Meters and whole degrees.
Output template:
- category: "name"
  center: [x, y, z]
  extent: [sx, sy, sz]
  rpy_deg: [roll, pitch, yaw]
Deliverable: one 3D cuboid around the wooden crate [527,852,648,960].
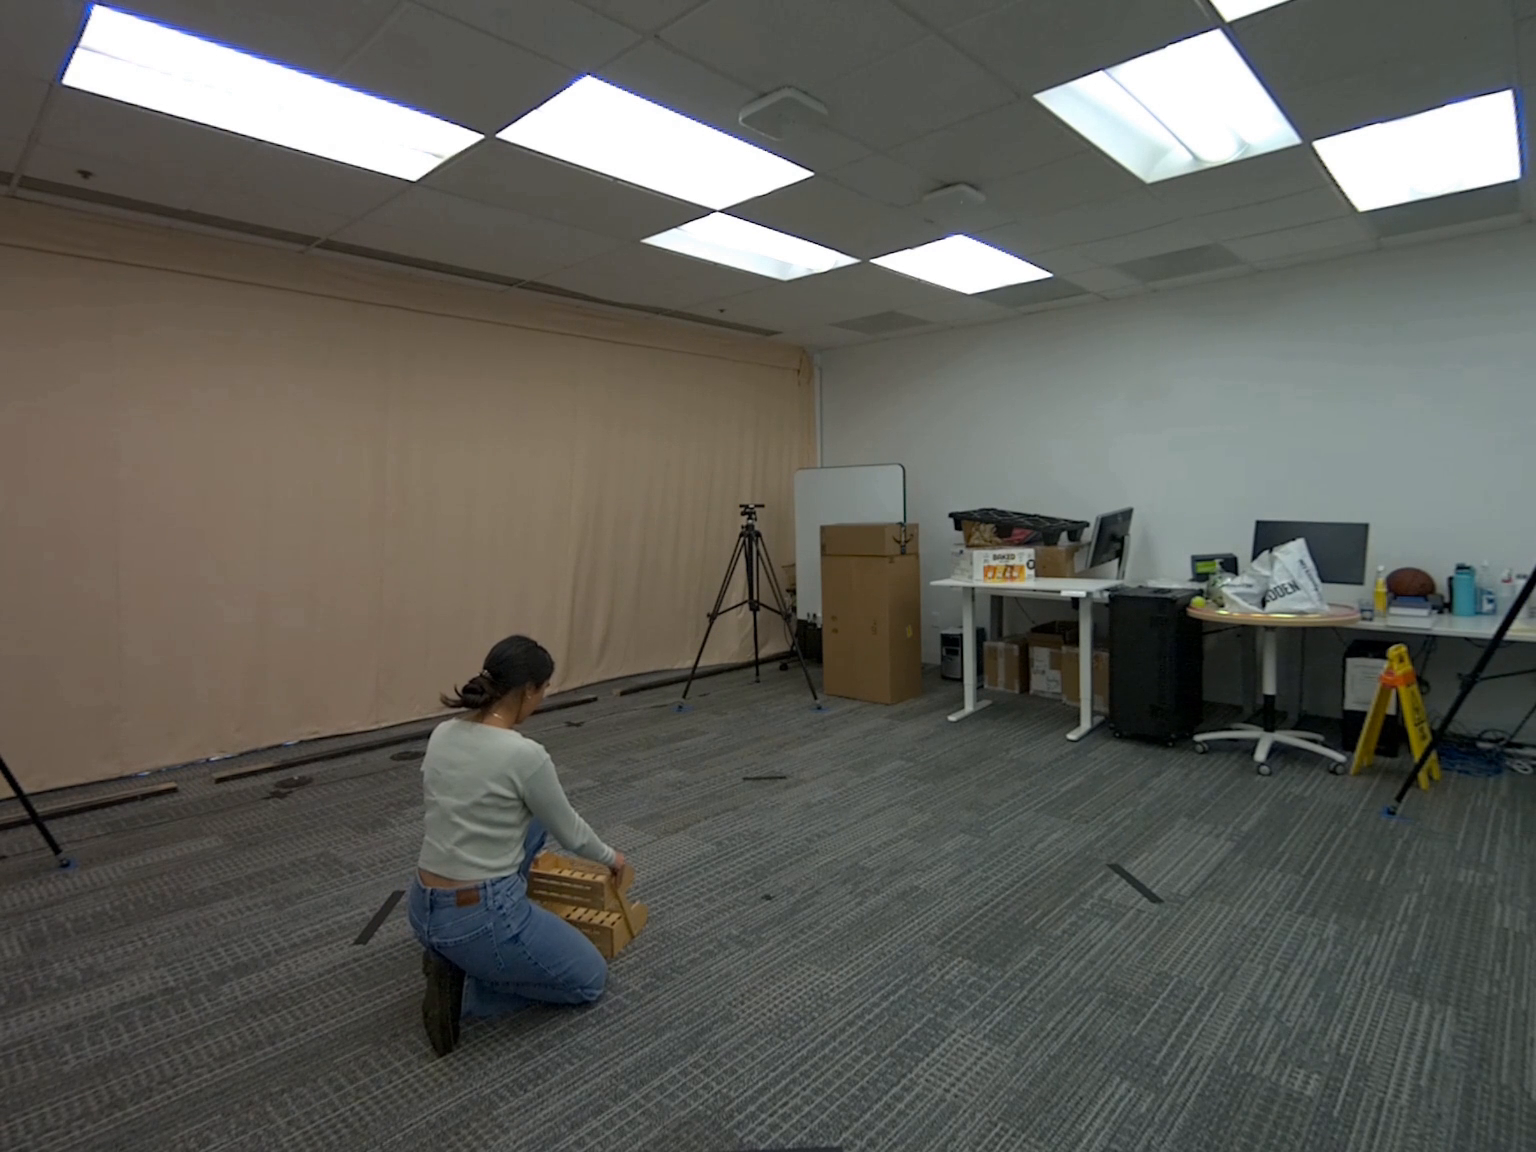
- category: "wooden crate"
  center: [-0.592, 1.040, 2.749]
  extent: [0.331, 0.273, 0.296]
  rpy_deg: [0, 4, 20]
